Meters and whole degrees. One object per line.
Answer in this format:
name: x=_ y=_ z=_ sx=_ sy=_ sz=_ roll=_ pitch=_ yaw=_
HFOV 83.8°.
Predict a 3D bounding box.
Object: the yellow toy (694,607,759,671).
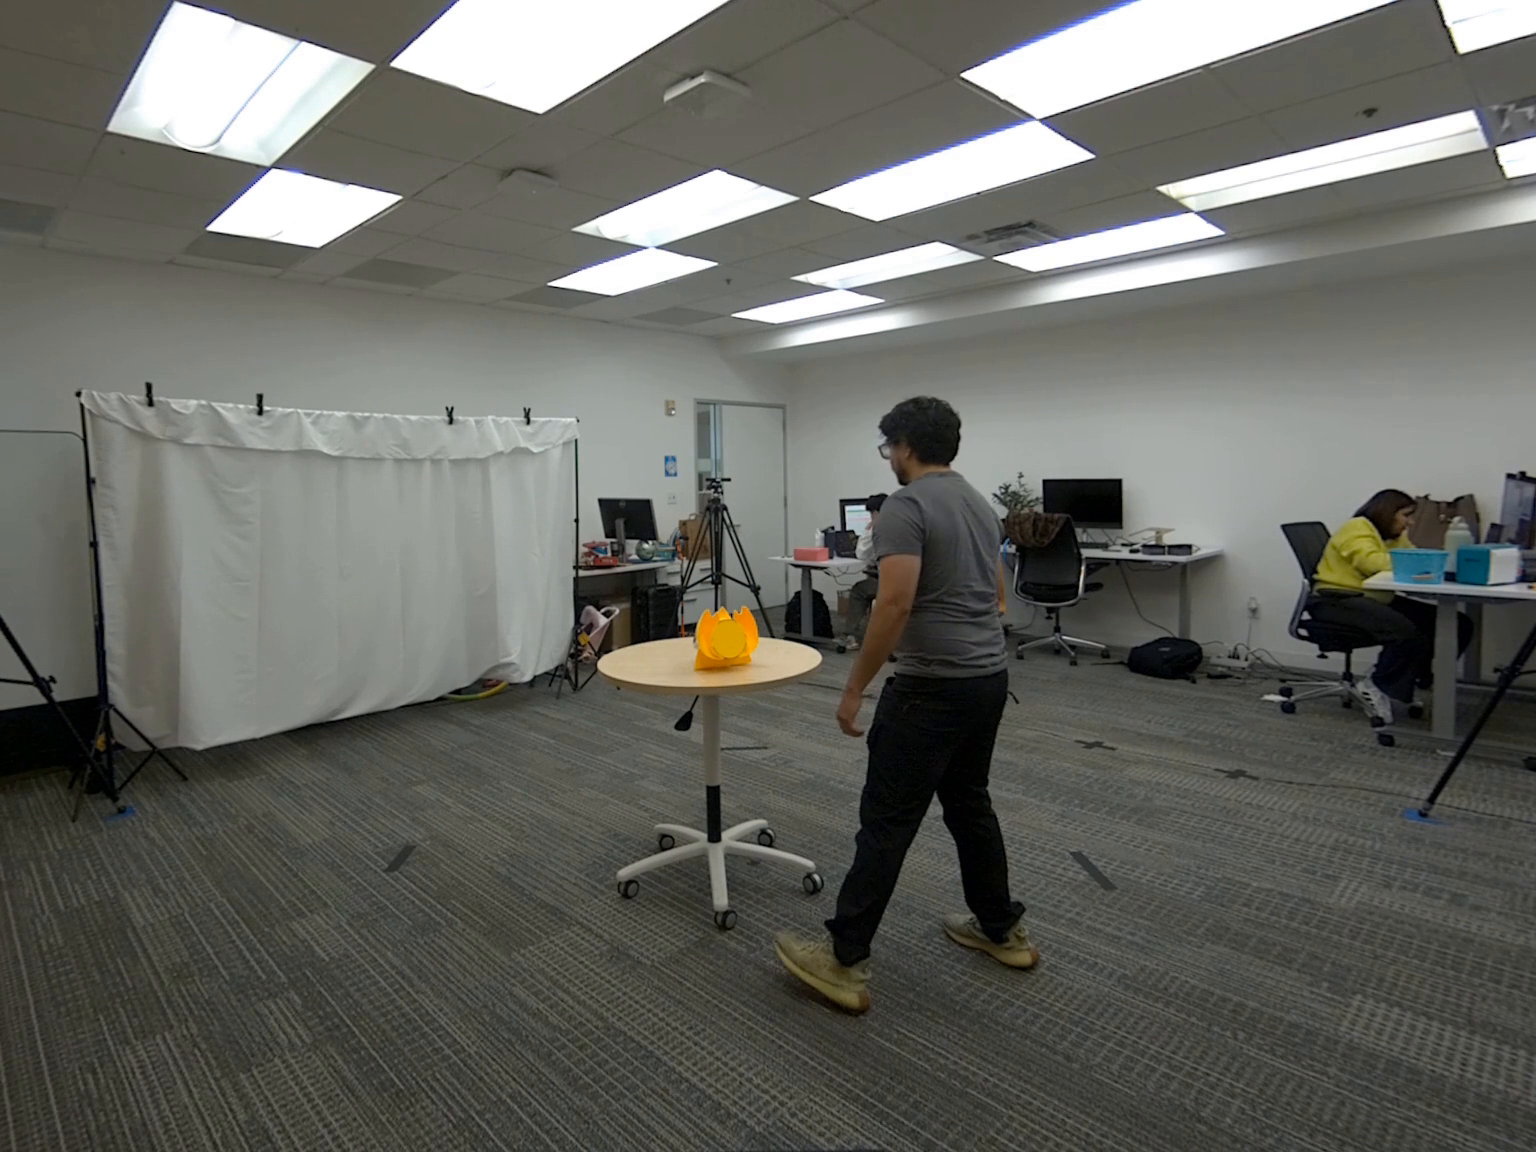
yellow toy: x=-0.168 y=0.208 z=2.823 sx=0.201 sy=0.194 sz=0.233 roll=-5 pitch=-6 yaw=-23
